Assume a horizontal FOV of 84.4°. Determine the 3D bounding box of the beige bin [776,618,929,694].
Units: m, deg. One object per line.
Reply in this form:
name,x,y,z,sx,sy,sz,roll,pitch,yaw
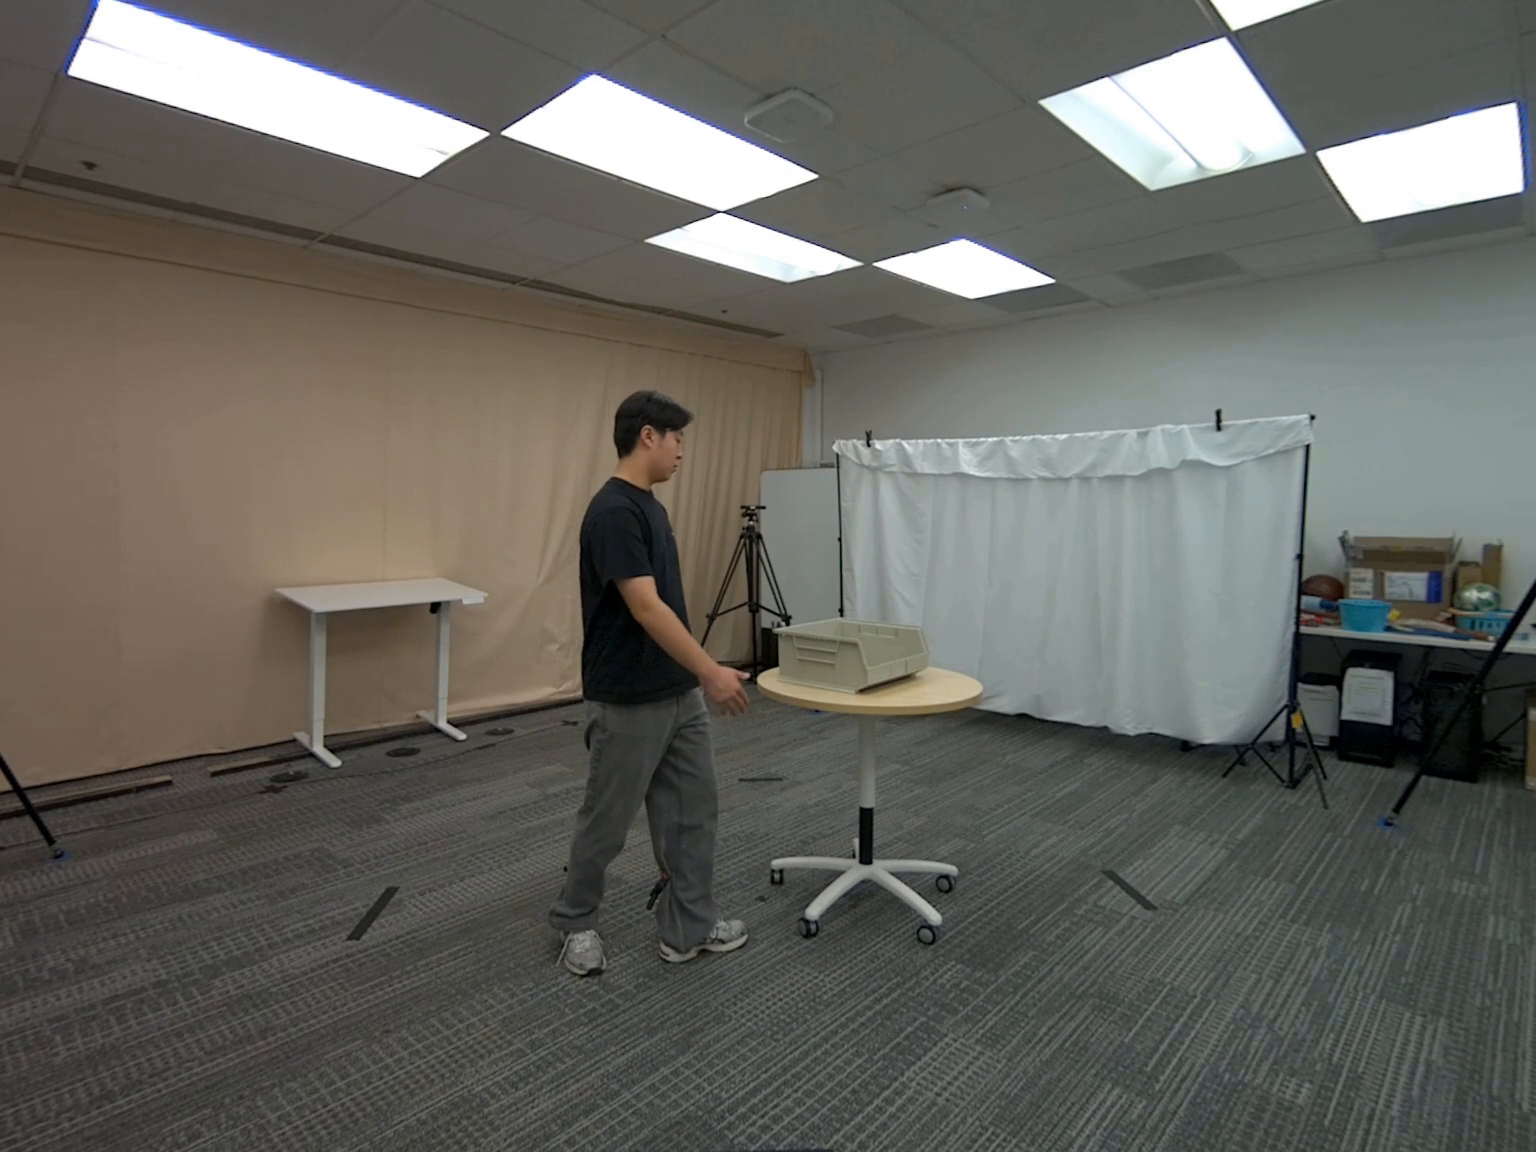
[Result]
beige bin,0.302,0.274,2.940,0.389,0.188,0.410,2,5,39
